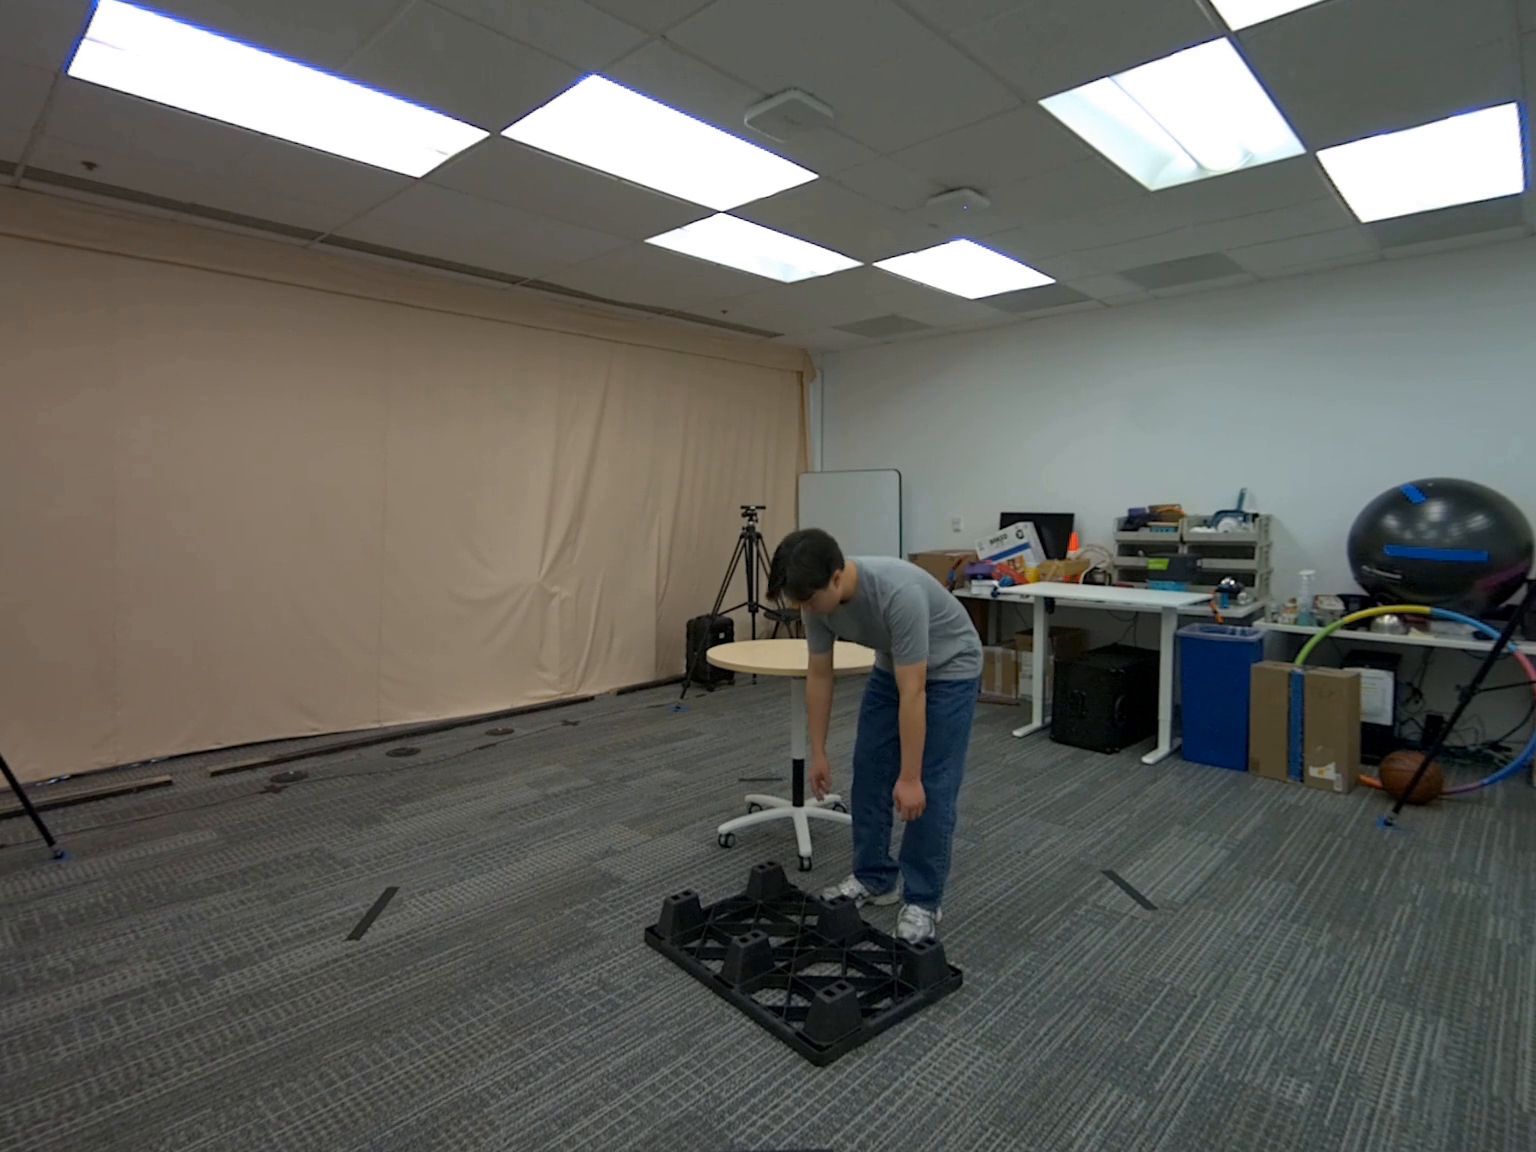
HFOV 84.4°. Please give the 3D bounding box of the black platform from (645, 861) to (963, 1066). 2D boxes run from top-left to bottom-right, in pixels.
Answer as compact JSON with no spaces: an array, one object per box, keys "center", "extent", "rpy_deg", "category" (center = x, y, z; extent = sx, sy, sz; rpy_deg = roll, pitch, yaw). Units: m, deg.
[{"center":[0.091,1.115,2.567],"extent":[0.587,0.143,0.832],"rpy_deg":[-5,7,-40],"category":"black platform"}]
